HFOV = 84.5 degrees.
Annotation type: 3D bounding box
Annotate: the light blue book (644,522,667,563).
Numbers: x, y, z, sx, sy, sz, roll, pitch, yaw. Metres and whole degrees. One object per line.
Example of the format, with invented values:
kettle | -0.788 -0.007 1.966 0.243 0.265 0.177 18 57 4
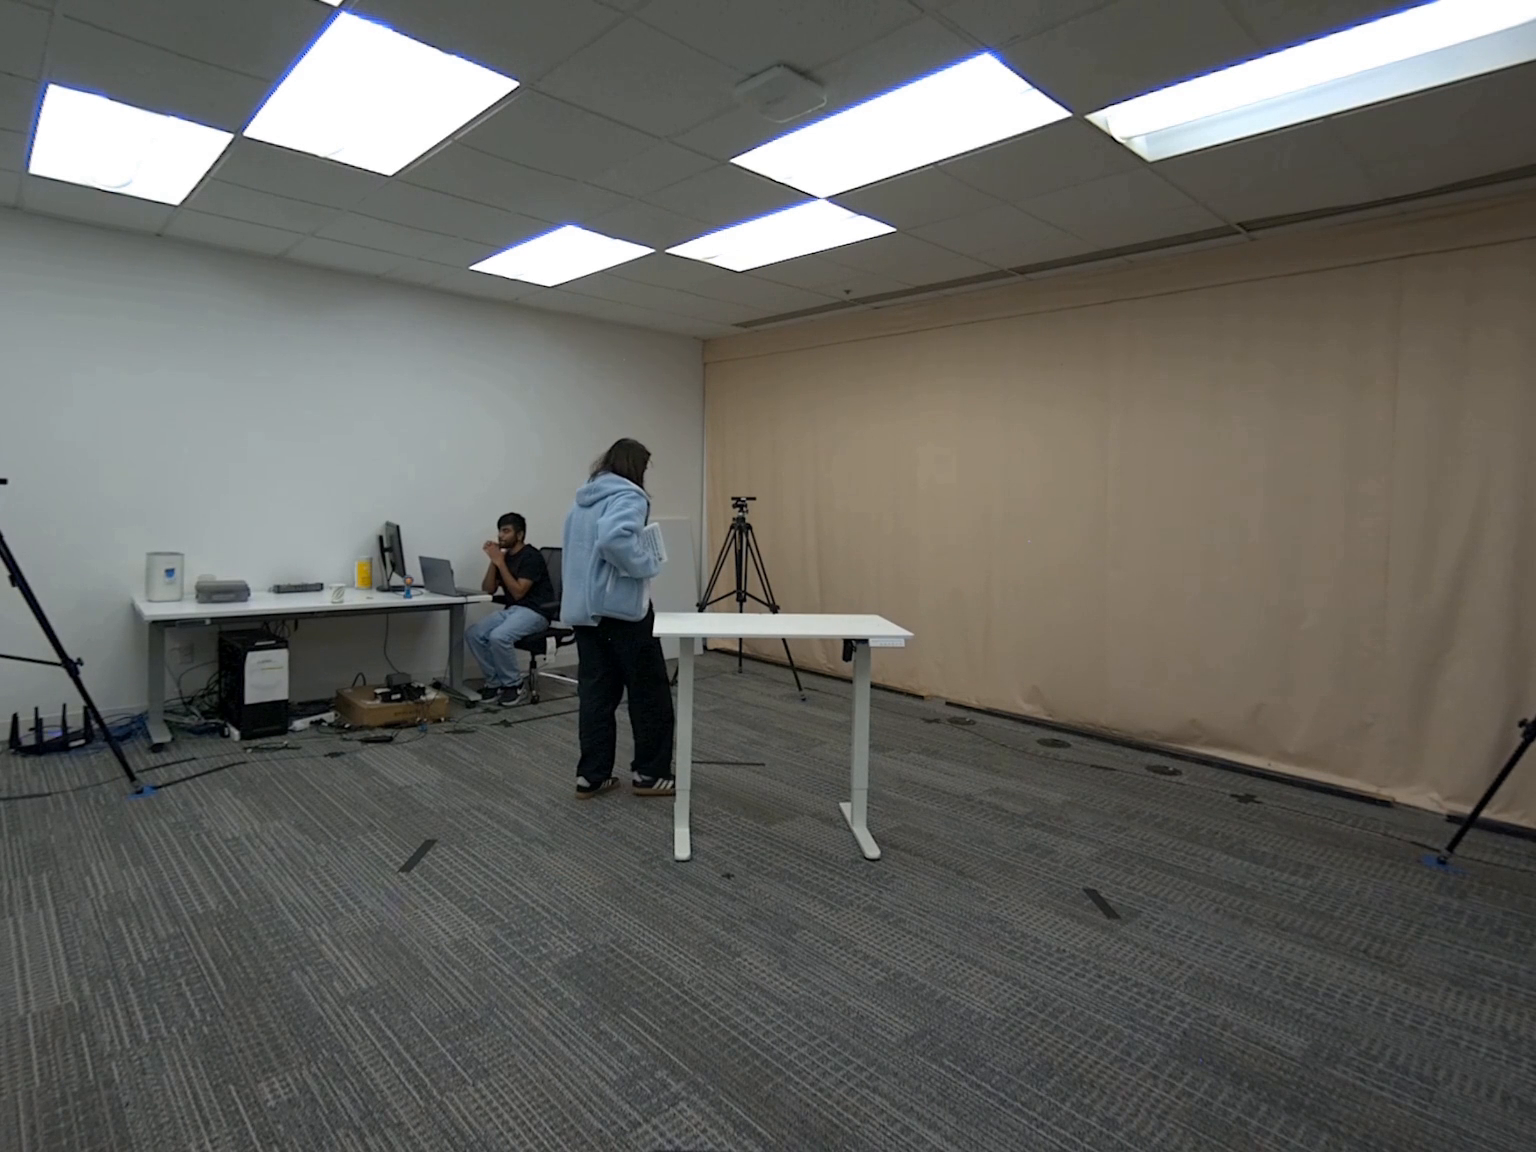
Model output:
light blue book | -0.580 -0.119 3.785 0.060 0.189 0.259 -4 14 29
